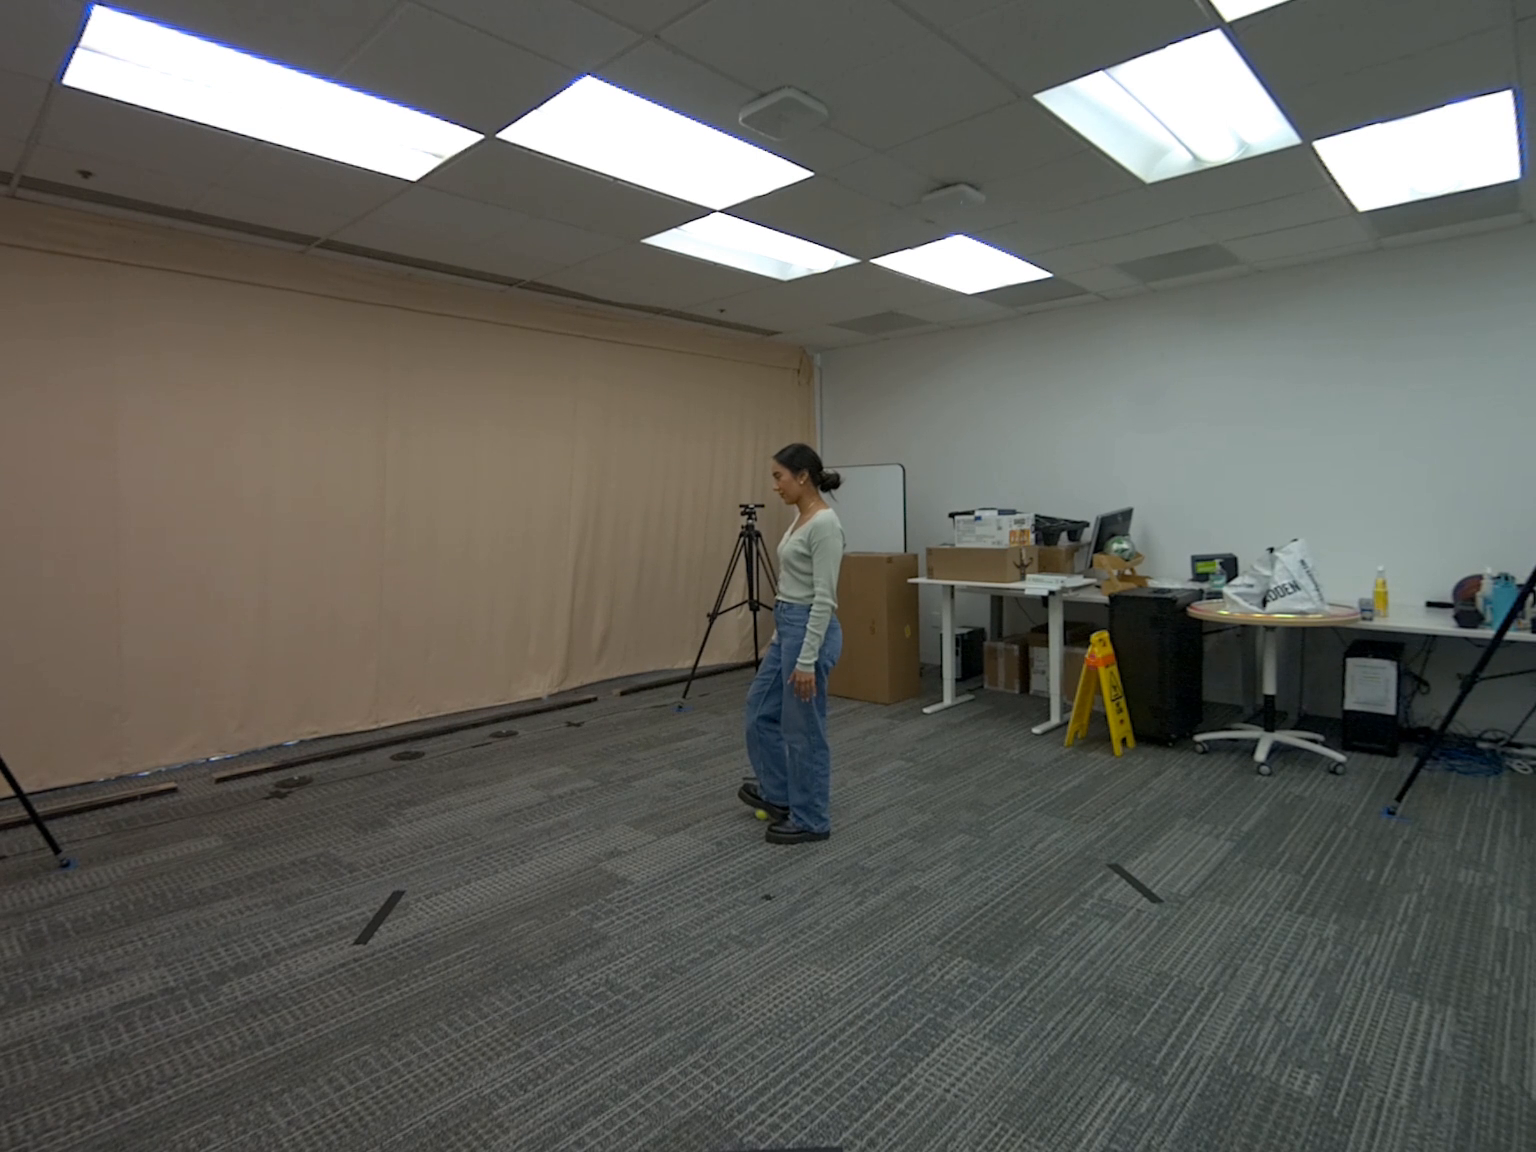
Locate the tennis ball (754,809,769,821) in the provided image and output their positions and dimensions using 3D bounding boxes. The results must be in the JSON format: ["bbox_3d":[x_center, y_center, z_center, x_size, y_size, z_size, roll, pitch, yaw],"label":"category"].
[{"bbox_3d":[-0.024,1.057,3.735,0.066,0.066,0.067,-1,4,-2],"label":"tennis ball"}]
